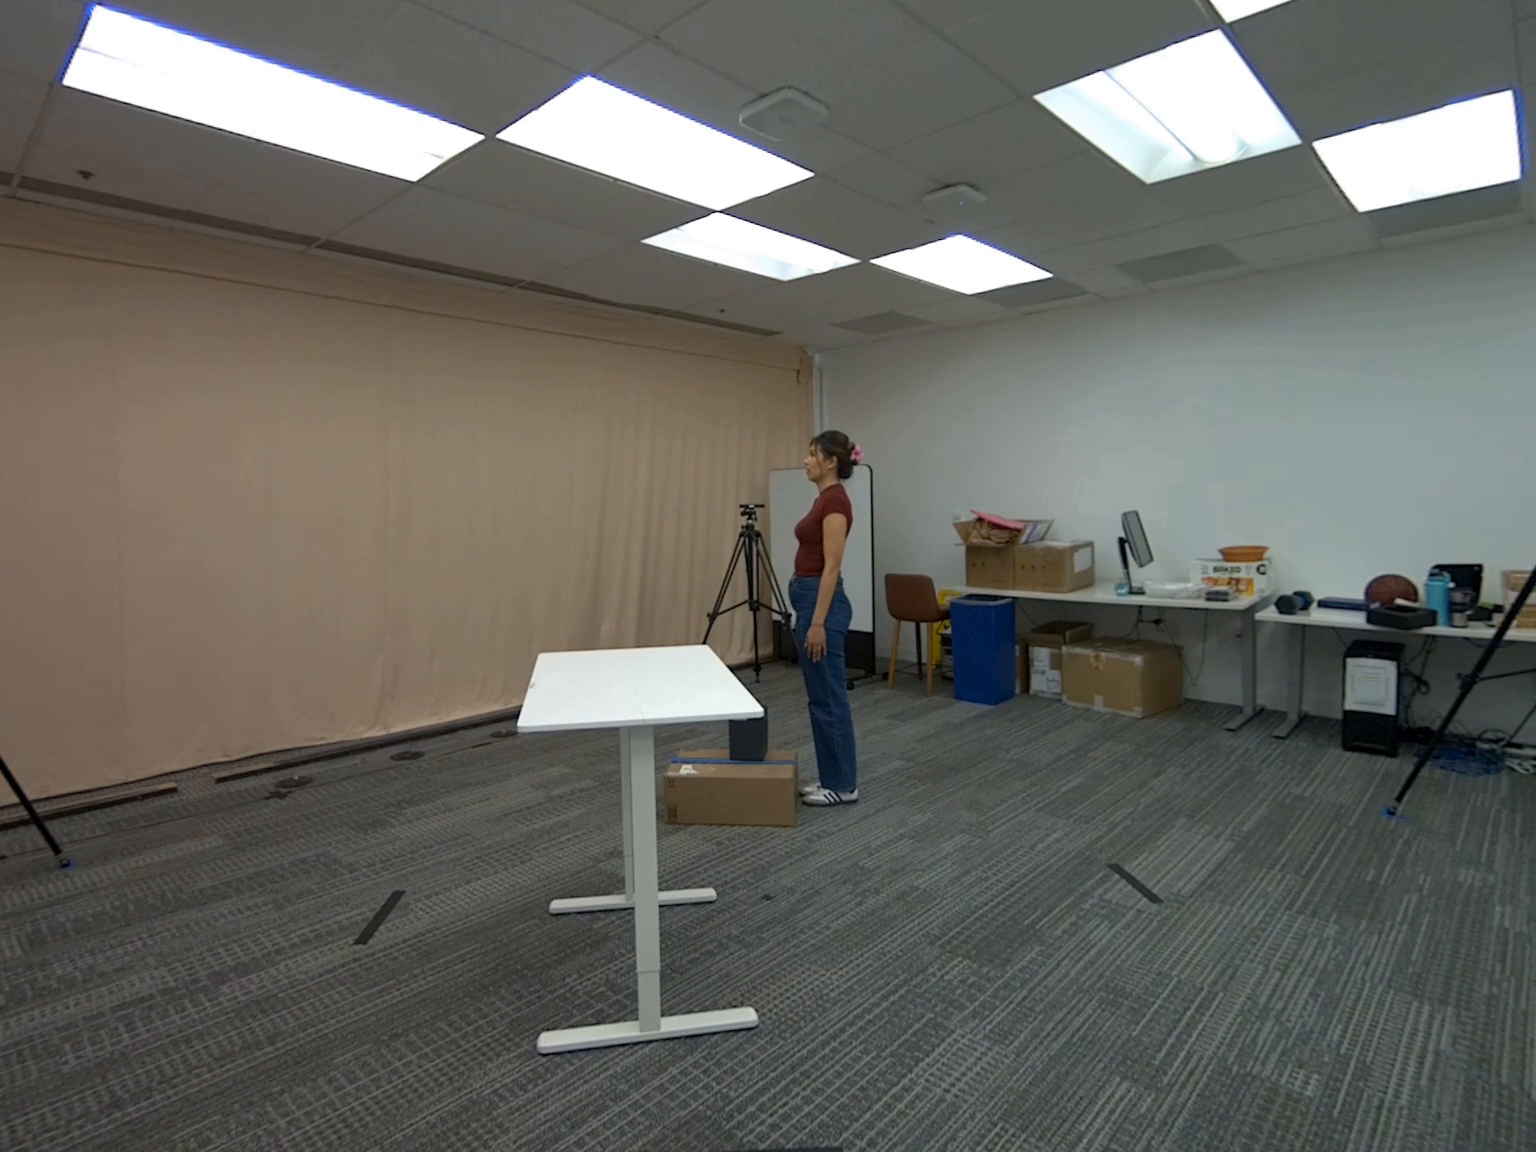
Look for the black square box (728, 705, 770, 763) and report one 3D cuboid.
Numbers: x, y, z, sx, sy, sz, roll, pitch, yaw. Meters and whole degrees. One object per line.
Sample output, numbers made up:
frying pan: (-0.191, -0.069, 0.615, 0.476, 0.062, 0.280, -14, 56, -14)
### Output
black square box: (-0.087, 0.731, 3.966, 0.157, 0.217, 0.226, -1, 0, 8)
